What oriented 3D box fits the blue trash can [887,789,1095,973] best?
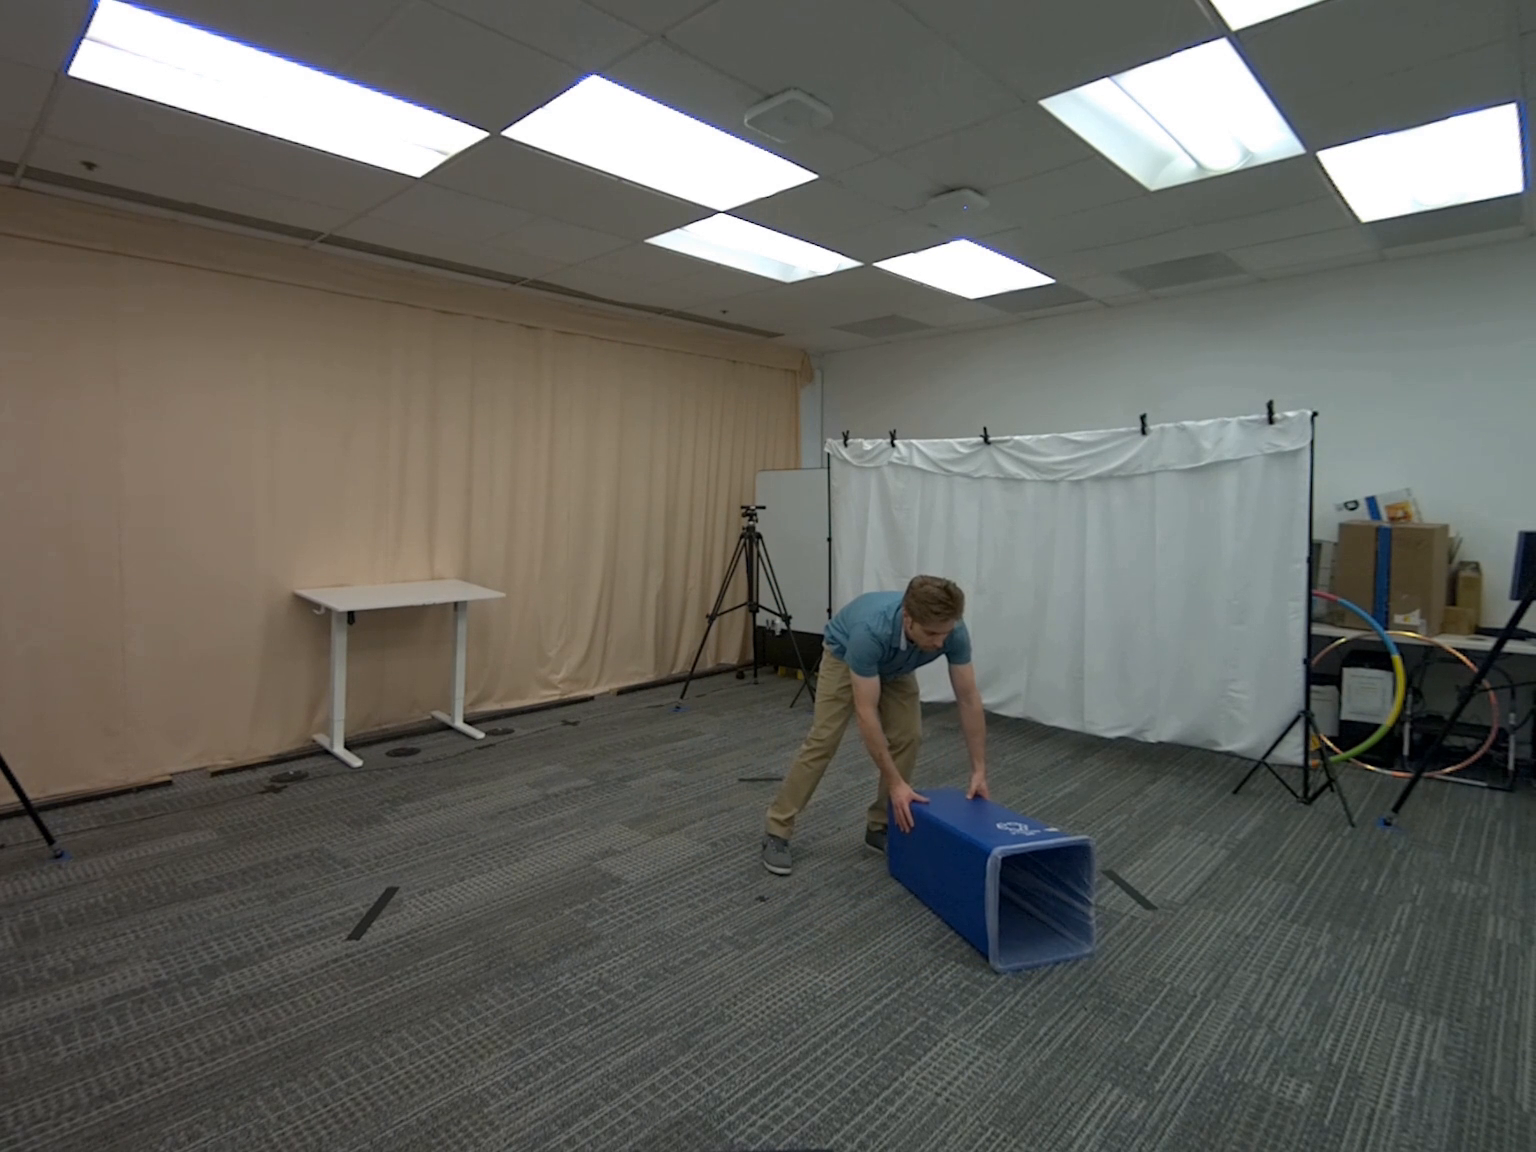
[{"bbox_3d":[0.720,0.981,2.878,0.367,0.378,0.727,-1,1,-20],"label":"blue trash can"}]
